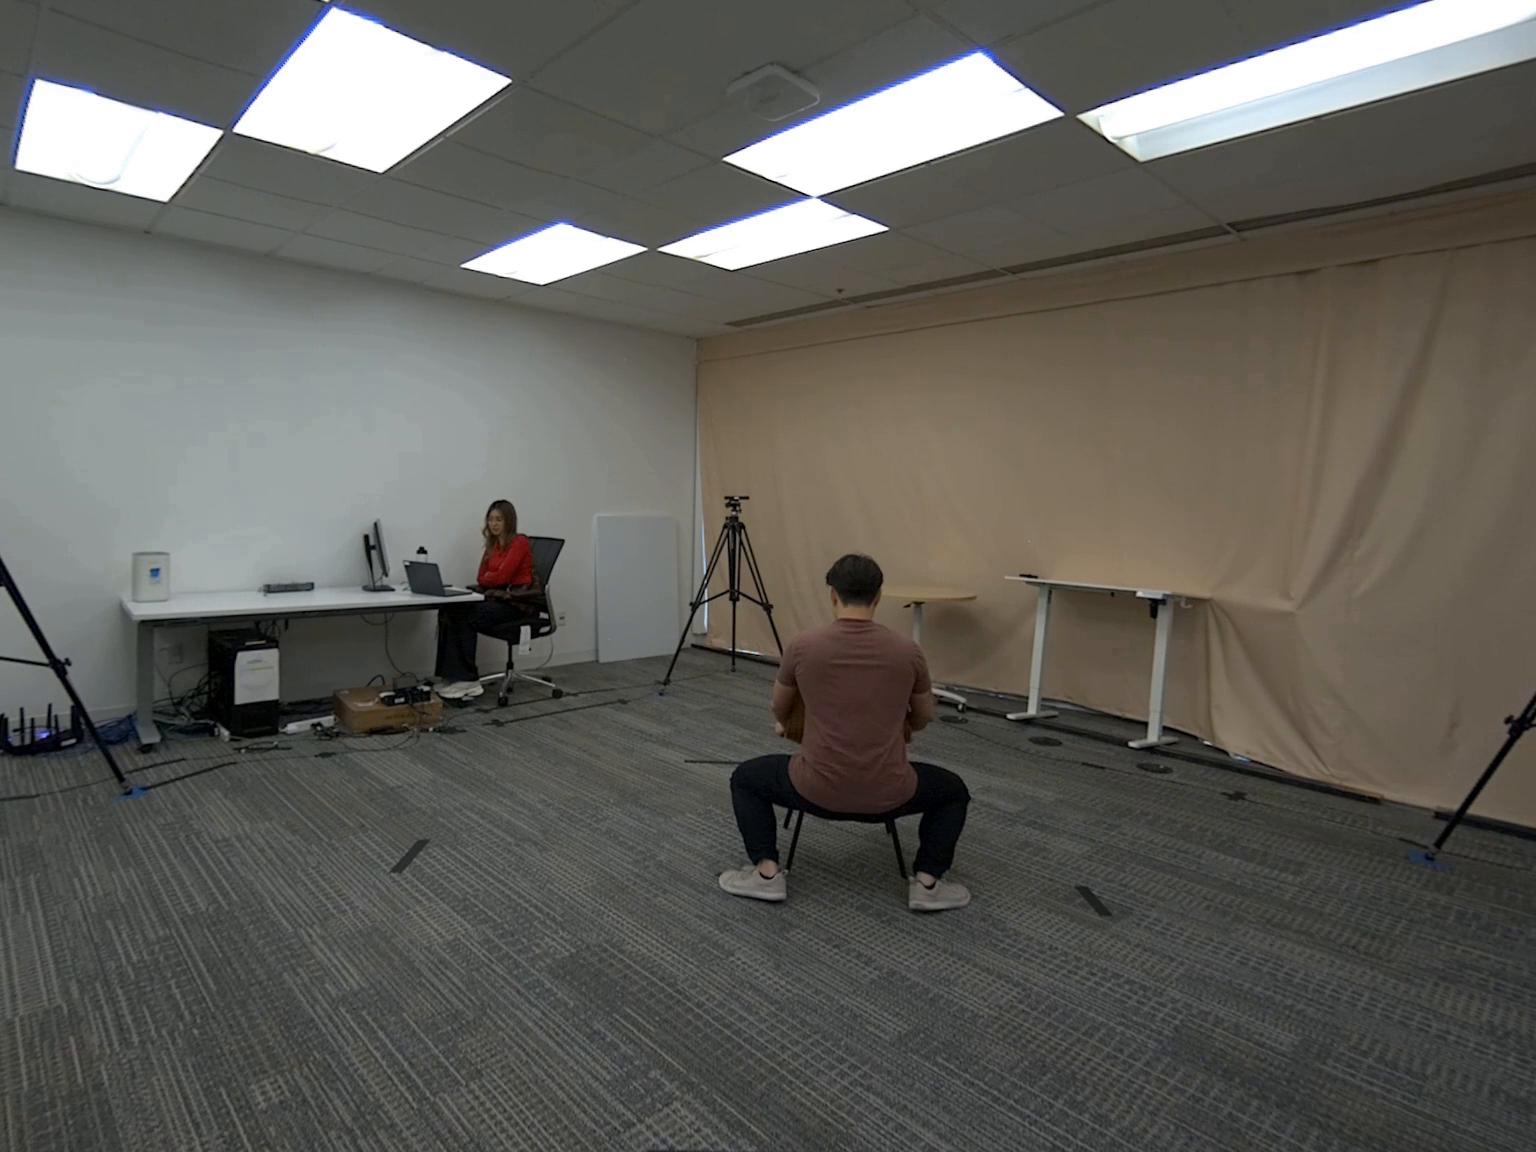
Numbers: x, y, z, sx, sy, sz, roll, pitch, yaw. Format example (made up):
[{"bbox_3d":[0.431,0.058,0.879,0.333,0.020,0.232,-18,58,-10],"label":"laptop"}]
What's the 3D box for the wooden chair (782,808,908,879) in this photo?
[{"bbox_3d":[0.293,0.669,3.328,0.479,0.873,0.525,1,7,2],"label":"wooden chair"}]
